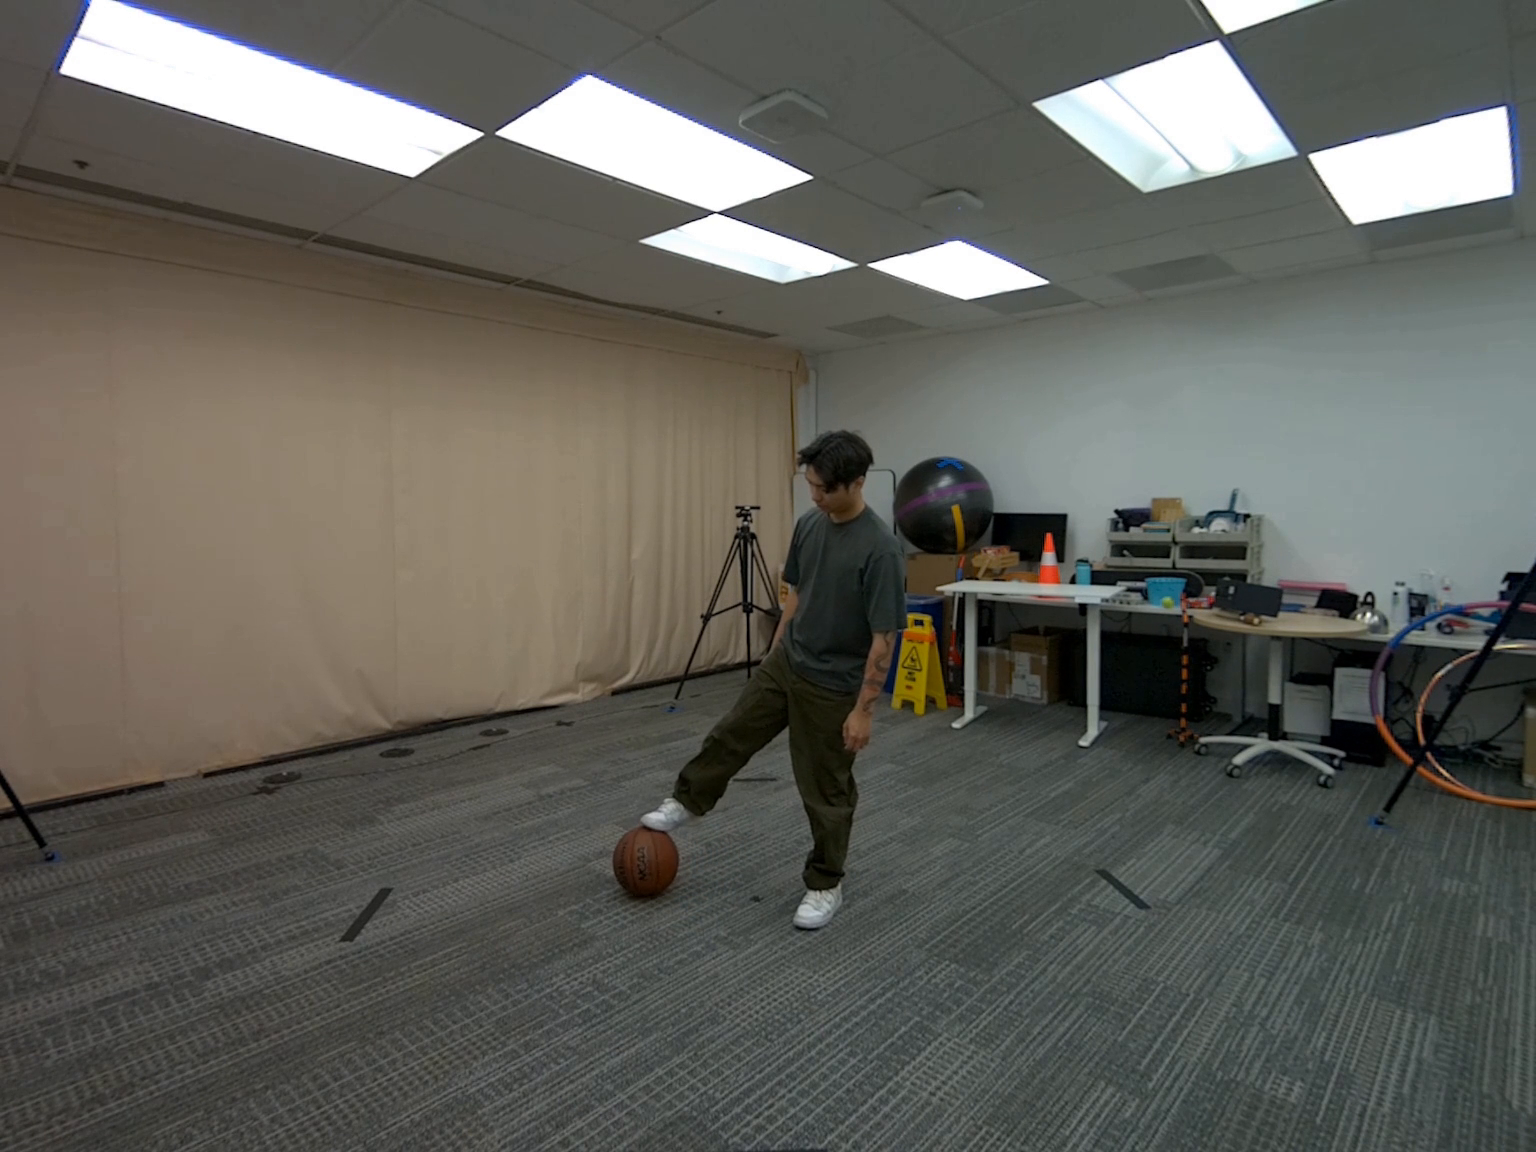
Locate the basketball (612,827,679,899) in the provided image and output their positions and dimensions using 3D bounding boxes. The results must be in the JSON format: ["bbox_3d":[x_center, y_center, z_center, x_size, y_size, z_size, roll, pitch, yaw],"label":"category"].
[{"bbox_3d":[-0.440,1.026,3.026,0.236,0.235,0.237,0,4,-2],"label":"basketball"}]
